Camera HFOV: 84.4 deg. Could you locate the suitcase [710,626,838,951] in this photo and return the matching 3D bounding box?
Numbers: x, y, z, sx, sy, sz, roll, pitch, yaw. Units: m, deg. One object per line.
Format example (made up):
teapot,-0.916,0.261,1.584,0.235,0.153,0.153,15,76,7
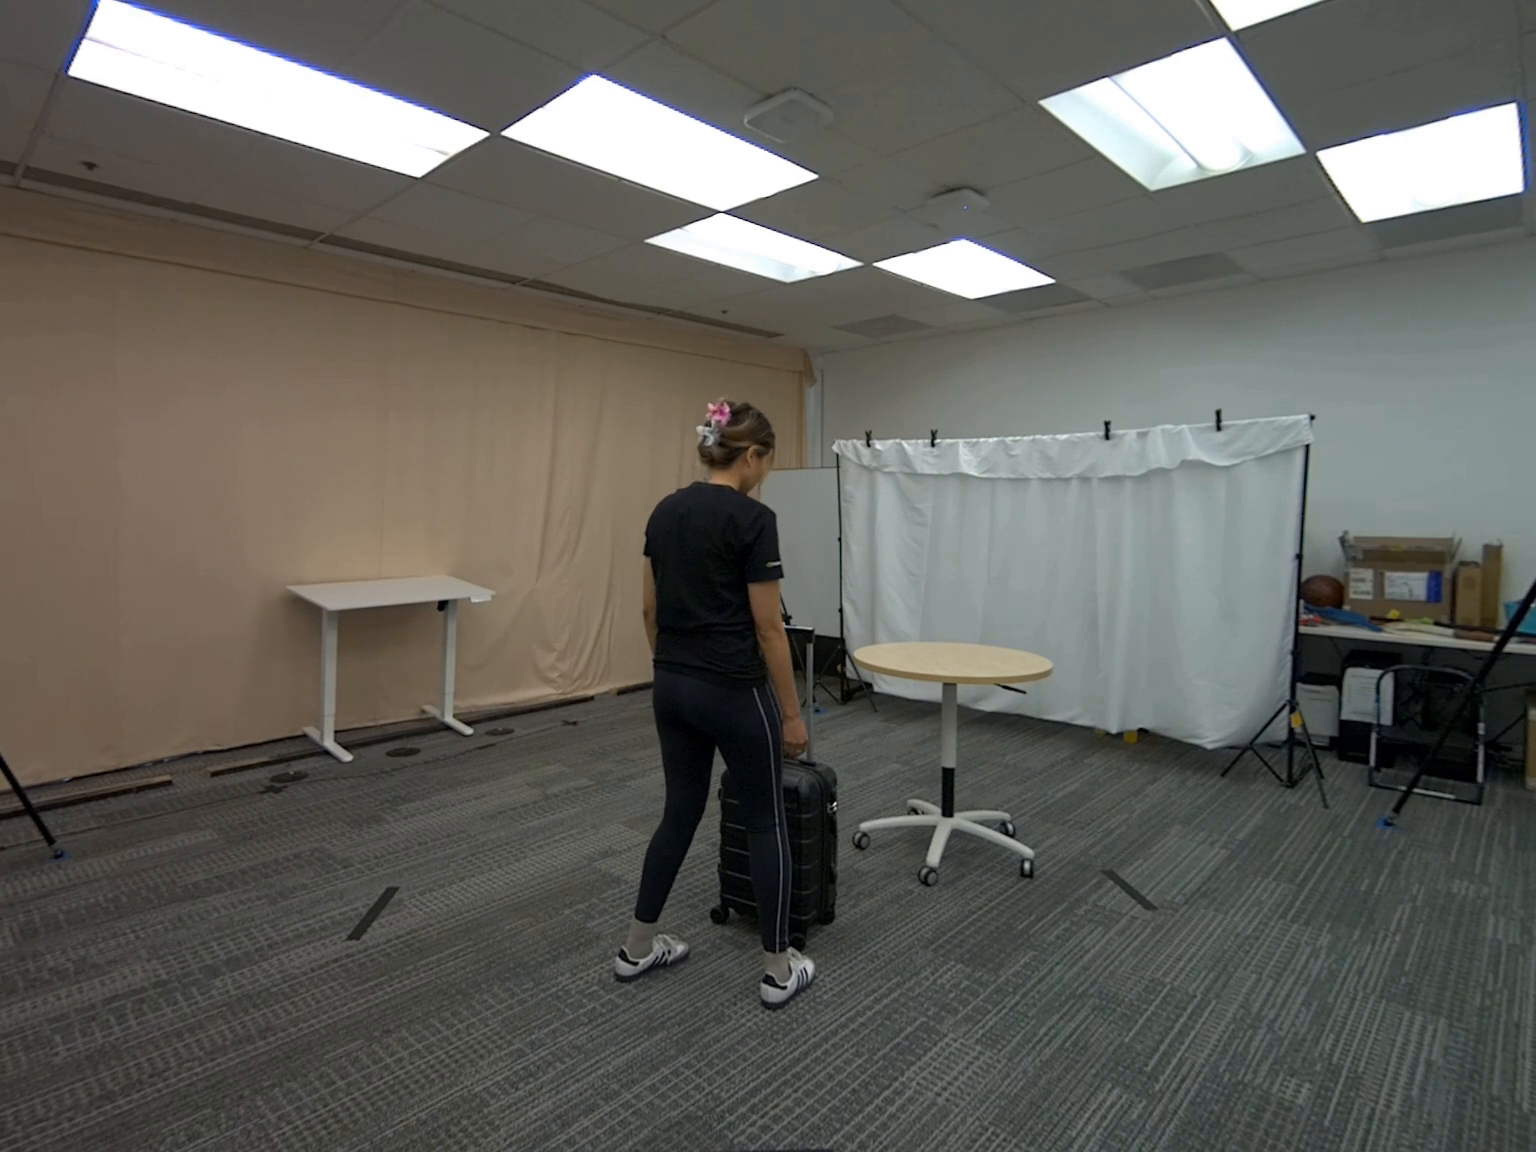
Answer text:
suitcase,0.038,0.683,2.785,0.396,0.976,0.250,3,5,32
